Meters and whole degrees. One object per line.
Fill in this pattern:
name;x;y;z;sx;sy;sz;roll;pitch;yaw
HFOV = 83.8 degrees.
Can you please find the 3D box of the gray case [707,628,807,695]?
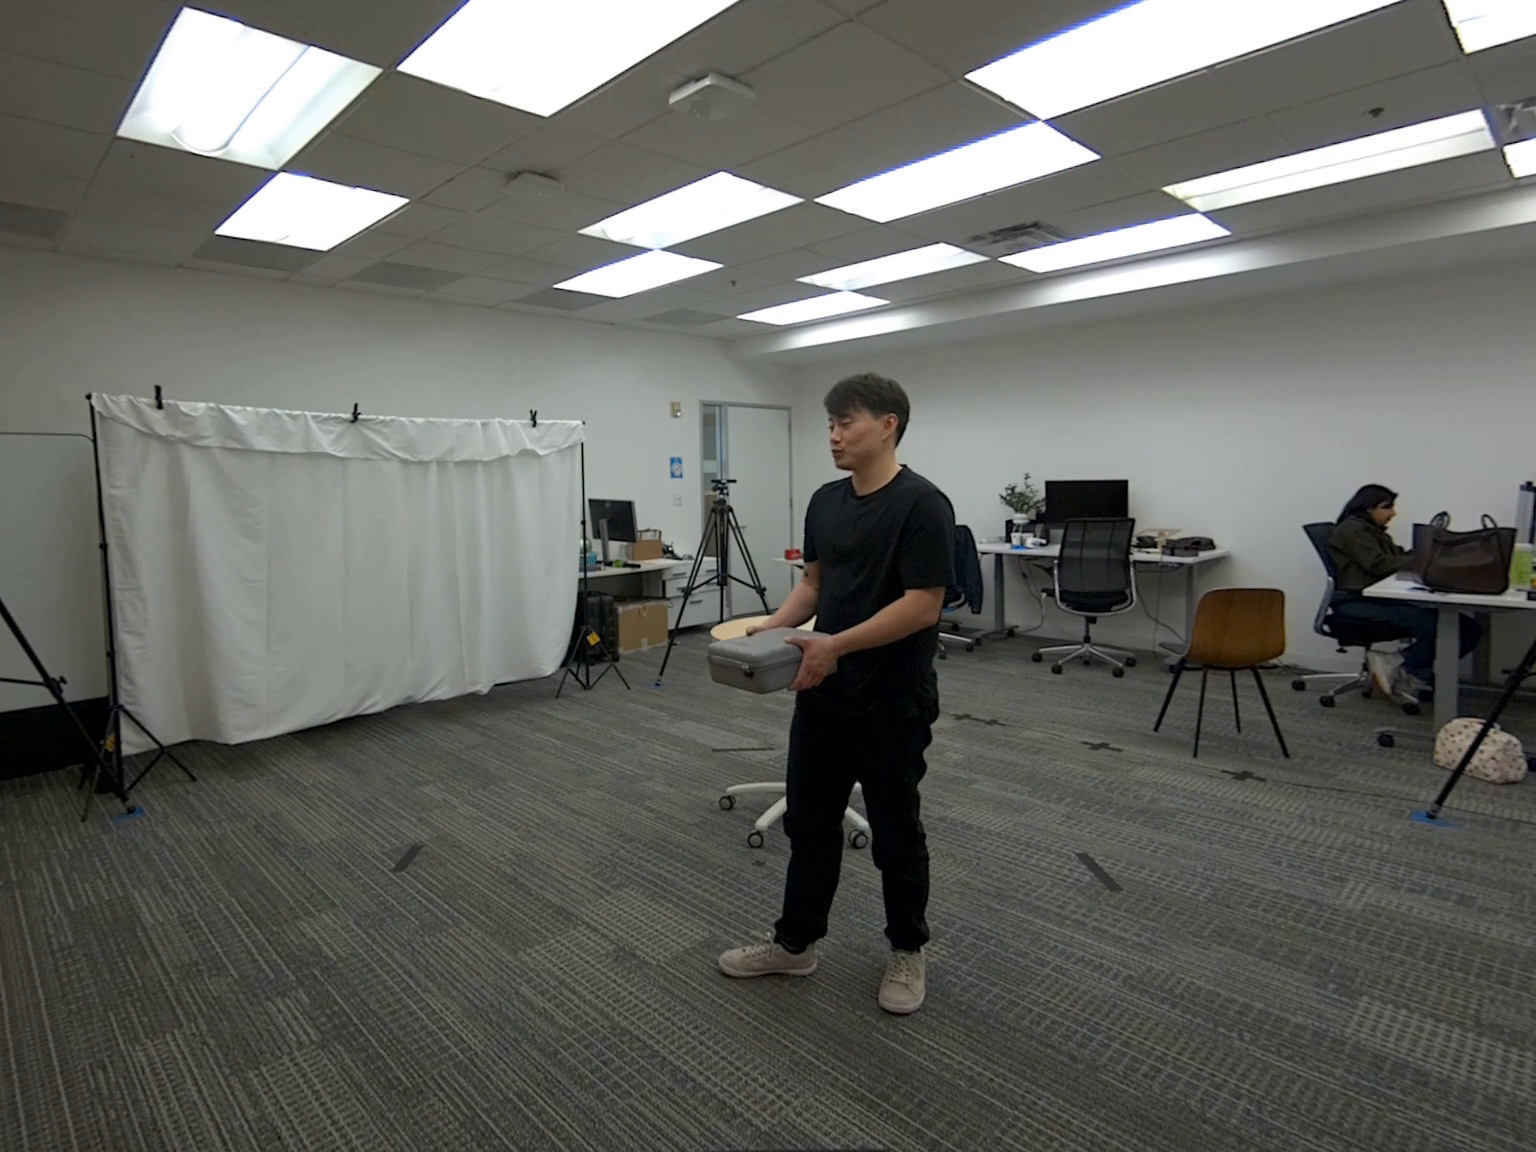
gray case;0.001;0.206;2.161;0.255;0.104;0.263;-10;5;-30
